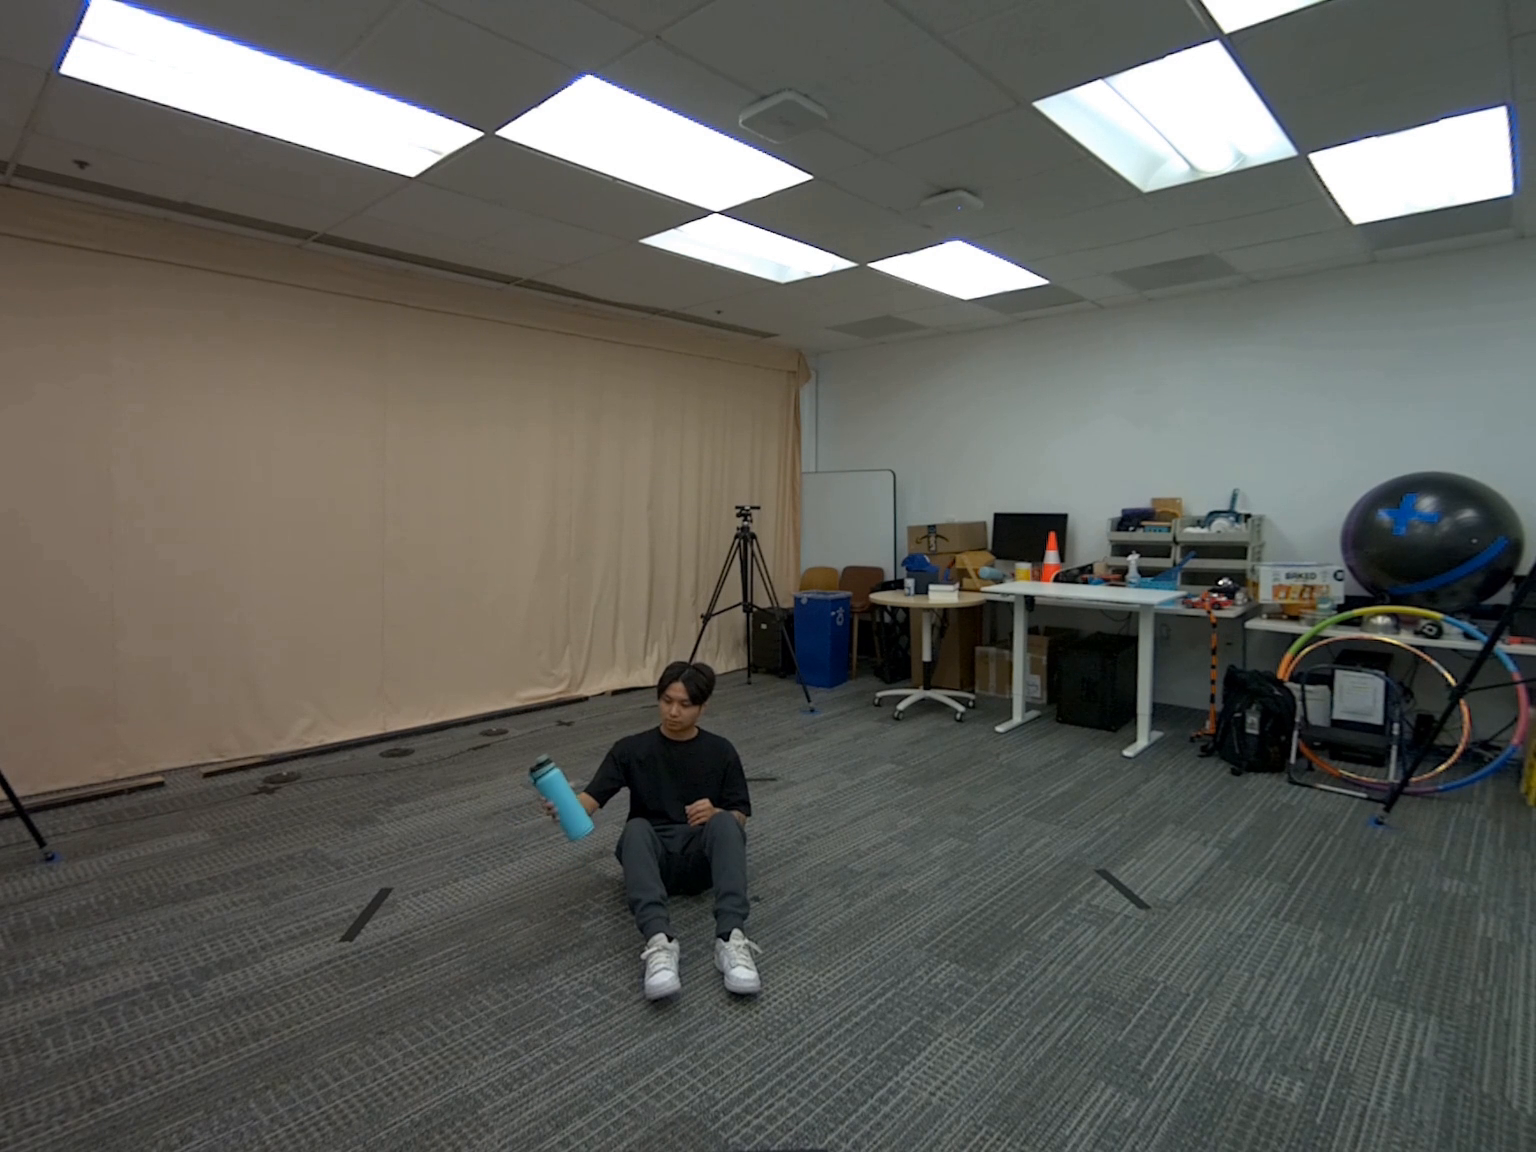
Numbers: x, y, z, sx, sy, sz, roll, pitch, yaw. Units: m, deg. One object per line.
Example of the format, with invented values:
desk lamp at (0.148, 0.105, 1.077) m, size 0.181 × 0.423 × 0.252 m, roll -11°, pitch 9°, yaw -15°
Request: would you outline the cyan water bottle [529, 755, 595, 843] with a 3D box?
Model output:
cyan water bottle at (-0.666, 0.709, 2.699) m, size 0.092 × 0.284 × 0.092 m, roll -31°, pitch -3°, yaw -3°
